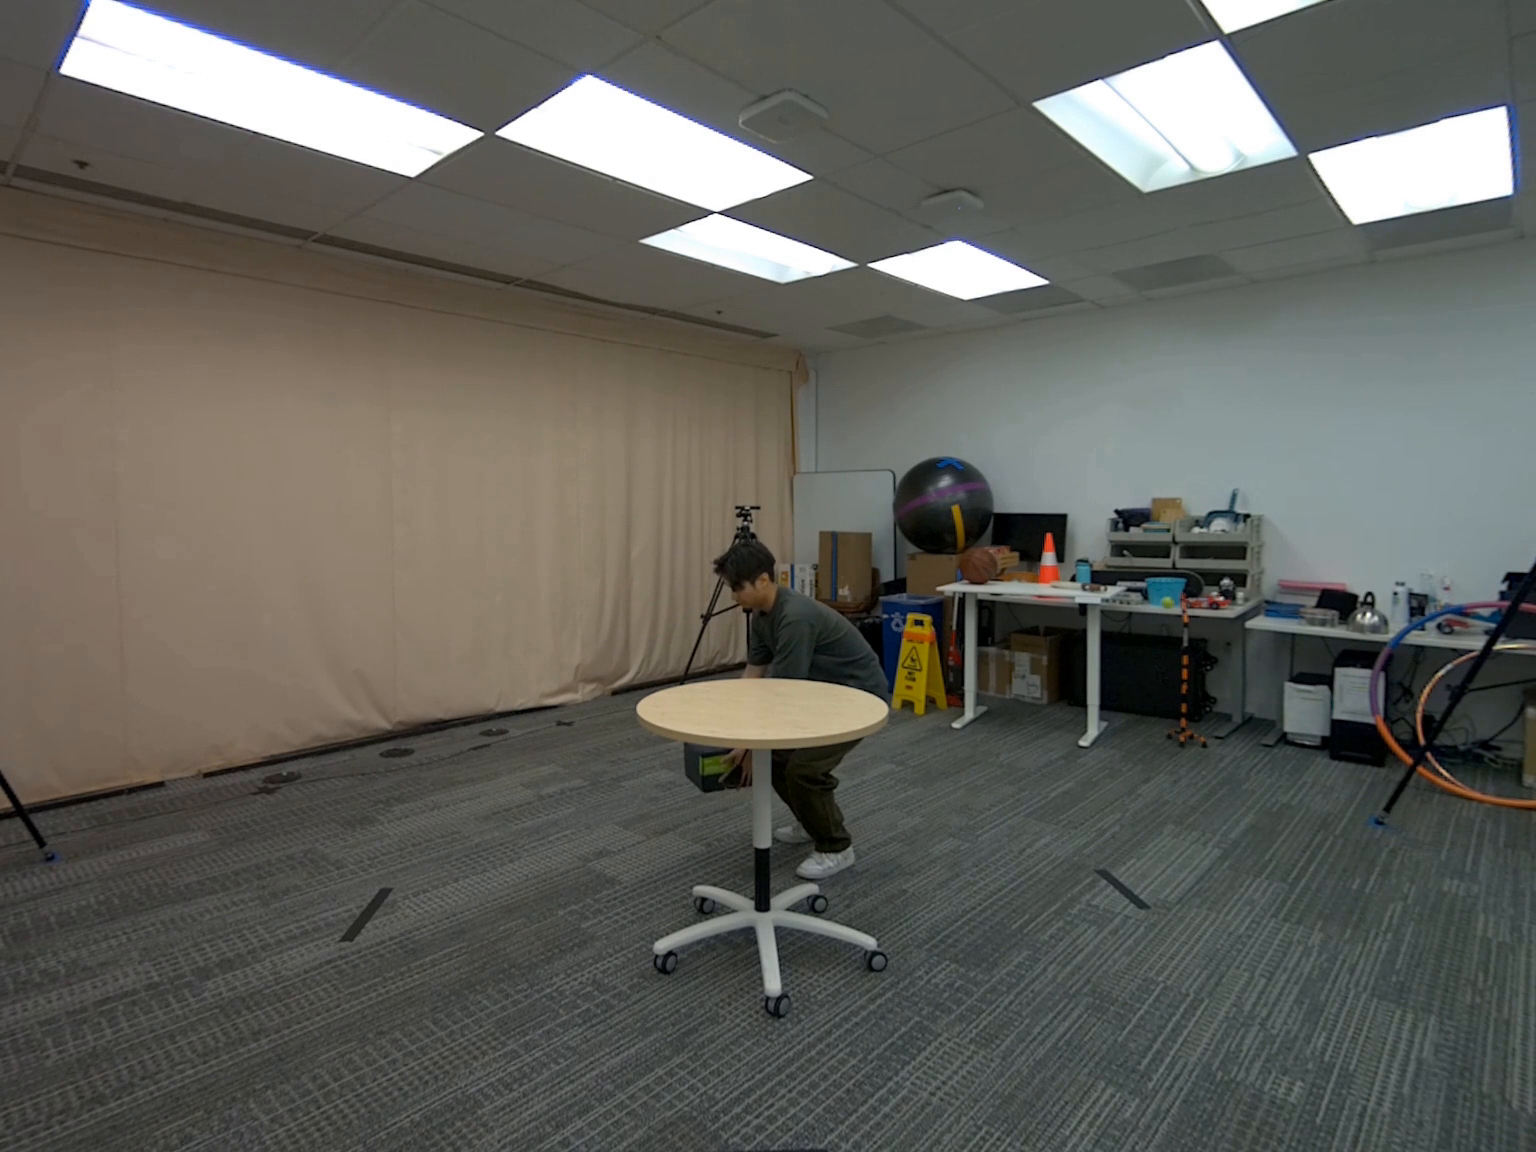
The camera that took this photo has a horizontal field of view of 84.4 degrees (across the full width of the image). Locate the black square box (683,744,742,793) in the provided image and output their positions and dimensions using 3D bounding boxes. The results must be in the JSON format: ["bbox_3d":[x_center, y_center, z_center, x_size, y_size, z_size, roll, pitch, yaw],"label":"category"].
[{"bbox_3d":[-0.178,0.729,3.297,0.223,0.155,0.222,-3,4,-22],"label":"black square box"}]
